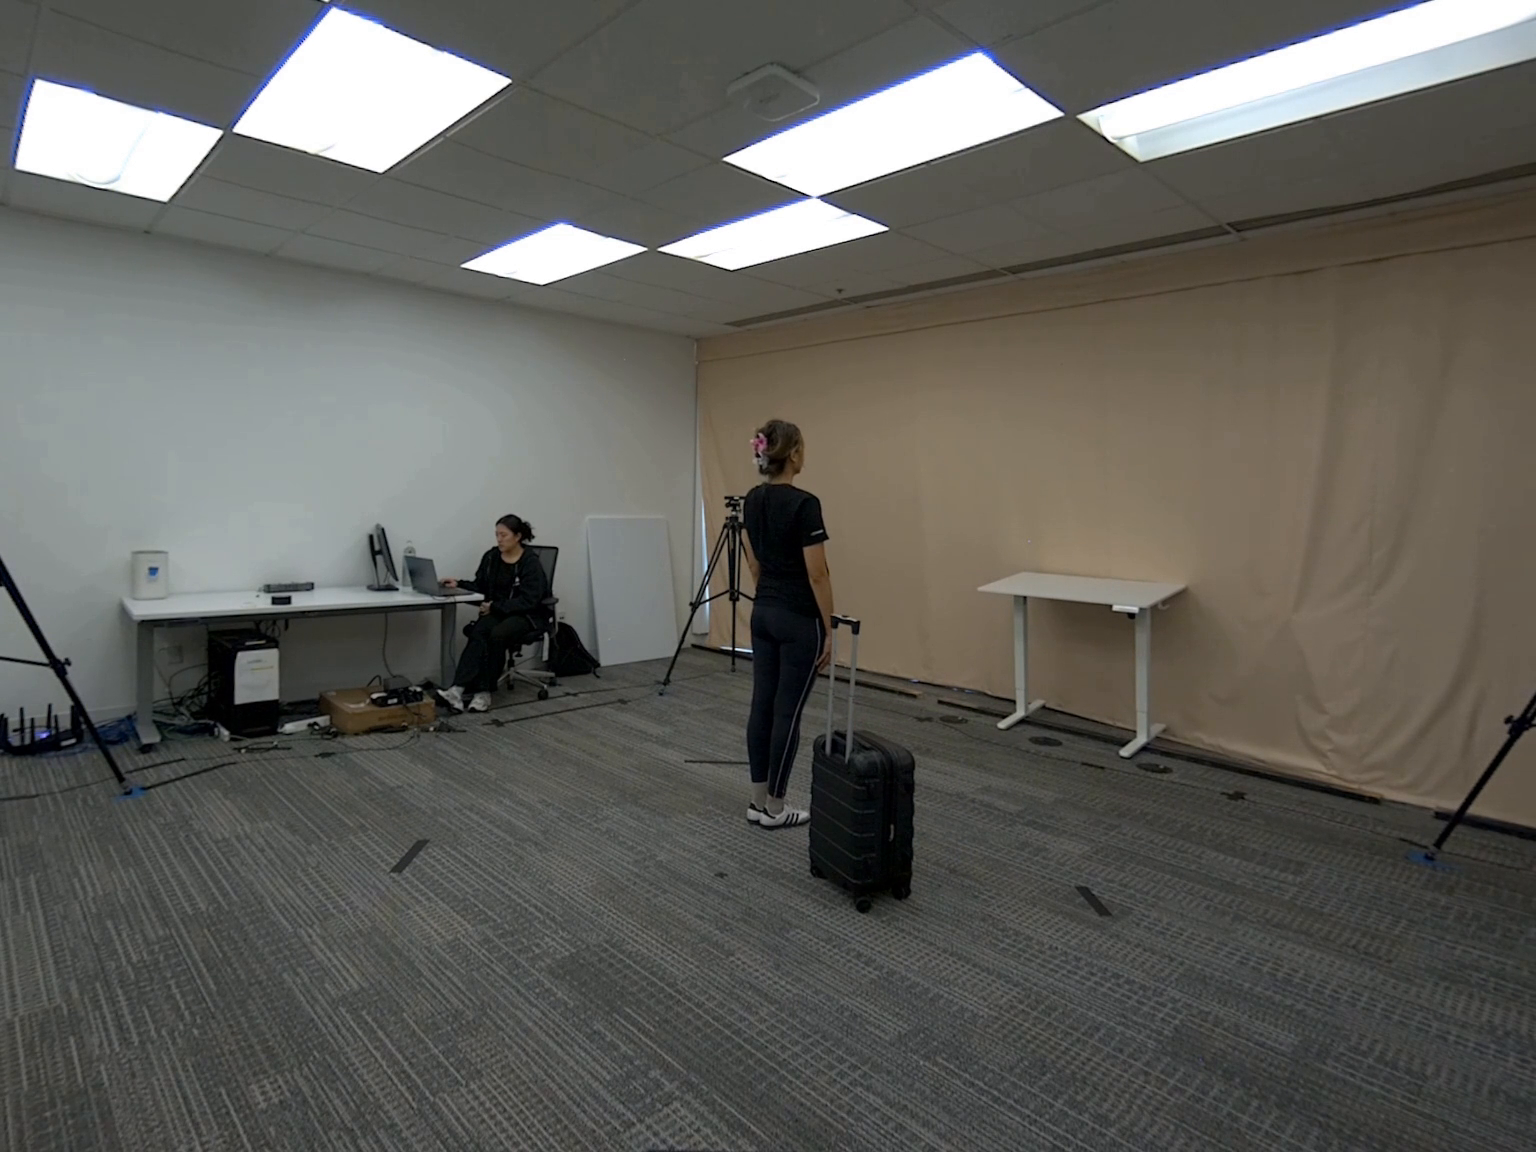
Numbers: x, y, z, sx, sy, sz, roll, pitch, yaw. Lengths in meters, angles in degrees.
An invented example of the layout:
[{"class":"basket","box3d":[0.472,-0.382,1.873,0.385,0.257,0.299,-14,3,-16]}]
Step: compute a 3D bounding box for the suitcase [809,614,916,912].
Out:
[{"class":"suitcase","box3d":[0.349,0.649,3.009,0.252,0.976,0.391,2,3,-24]}]
